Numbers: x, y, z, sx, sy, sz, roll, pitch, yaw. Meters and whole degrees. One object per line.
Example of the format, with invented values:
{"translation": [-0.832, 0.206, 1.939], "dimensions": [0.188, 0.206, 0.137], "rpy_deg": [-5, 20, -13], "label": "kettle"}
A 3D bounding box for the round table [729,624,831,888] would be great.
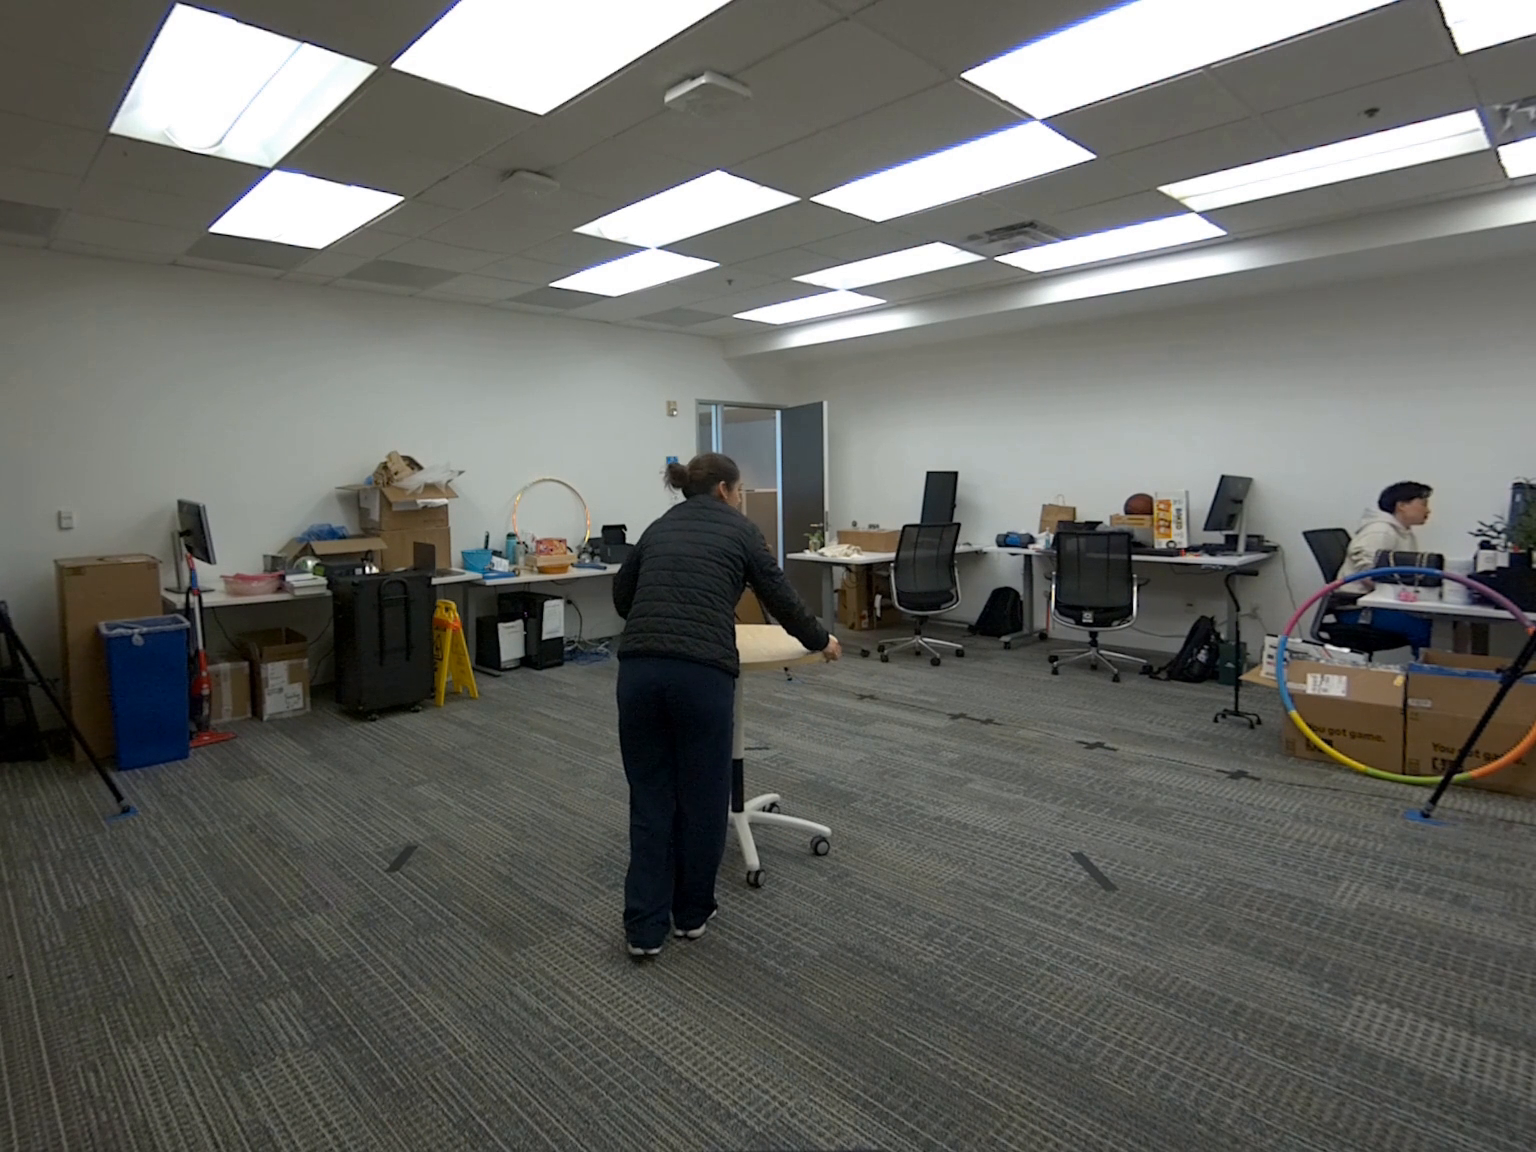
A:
{"translation": [-0.120, 0.636, 3.227], "dimensions": [0.784, 0.784, 0.788], "rpy_deg": [-1, 4, -2], "label": "round table"}
